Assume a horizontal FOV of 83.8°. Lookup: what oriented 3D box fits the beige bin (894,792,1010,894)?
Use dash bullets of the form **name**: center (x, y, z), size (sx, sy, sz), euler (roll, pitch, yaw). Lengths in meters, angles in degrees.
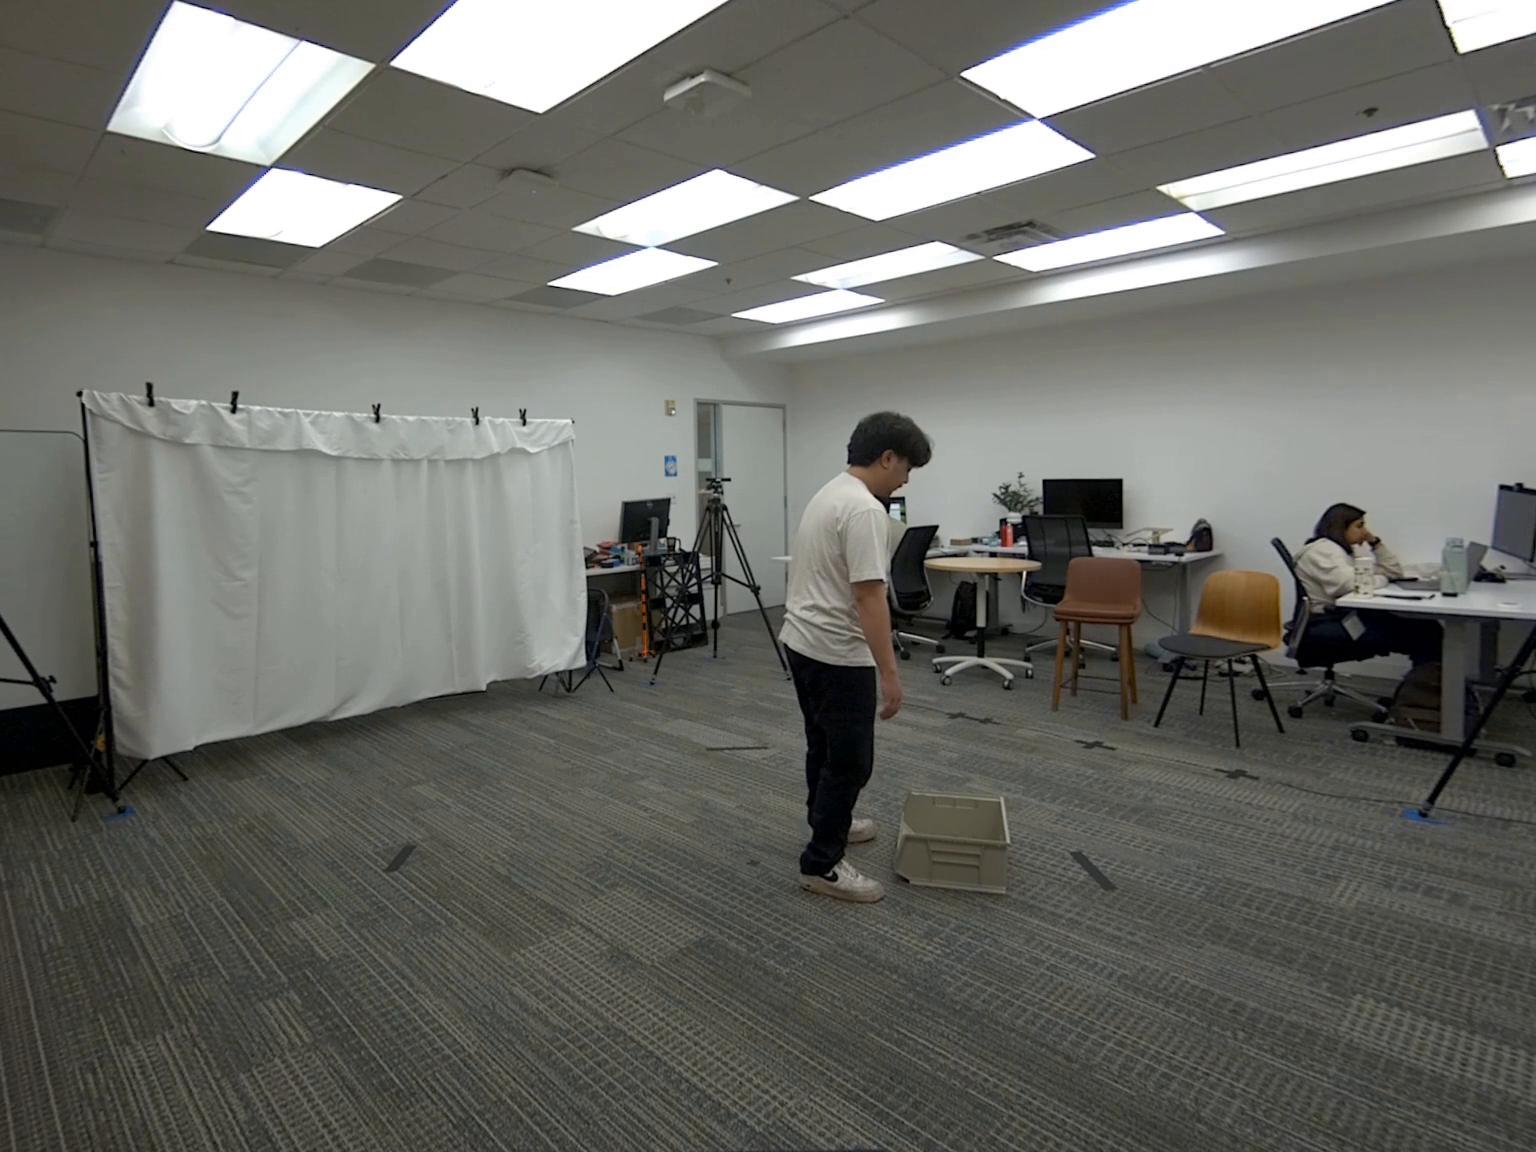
- **beige bin**: center (0.665, 0.945, 3.074), size (0.382, 0.188, 0.418), euler (1, 5, 13)
